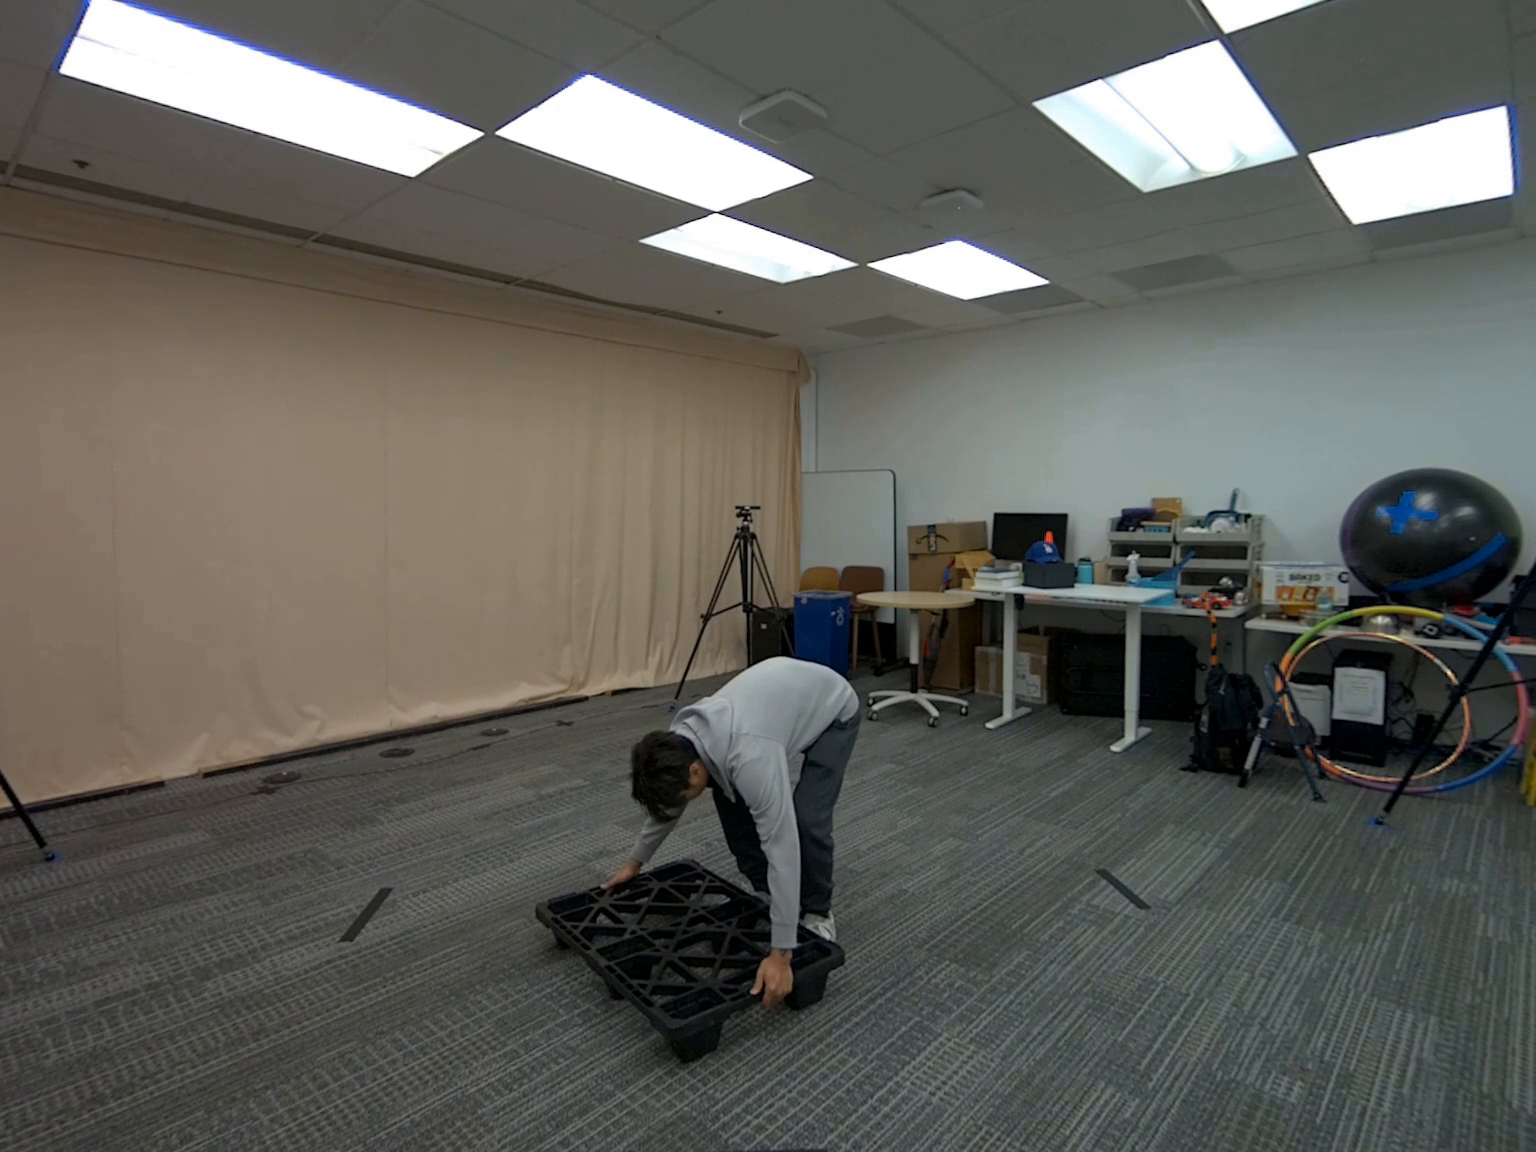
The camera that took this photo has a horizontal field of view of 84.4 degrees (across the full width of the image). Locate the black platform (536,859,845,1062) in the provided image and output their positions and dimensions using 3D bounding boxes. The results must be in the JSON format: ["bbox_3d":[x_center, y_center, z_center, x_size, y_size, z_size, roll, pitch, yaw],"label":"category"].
[{"bbox_3d":[-0.262,1.119,2.528,0.587,0.143,0.832,-3,6,-38],"label":"black platform"}]
